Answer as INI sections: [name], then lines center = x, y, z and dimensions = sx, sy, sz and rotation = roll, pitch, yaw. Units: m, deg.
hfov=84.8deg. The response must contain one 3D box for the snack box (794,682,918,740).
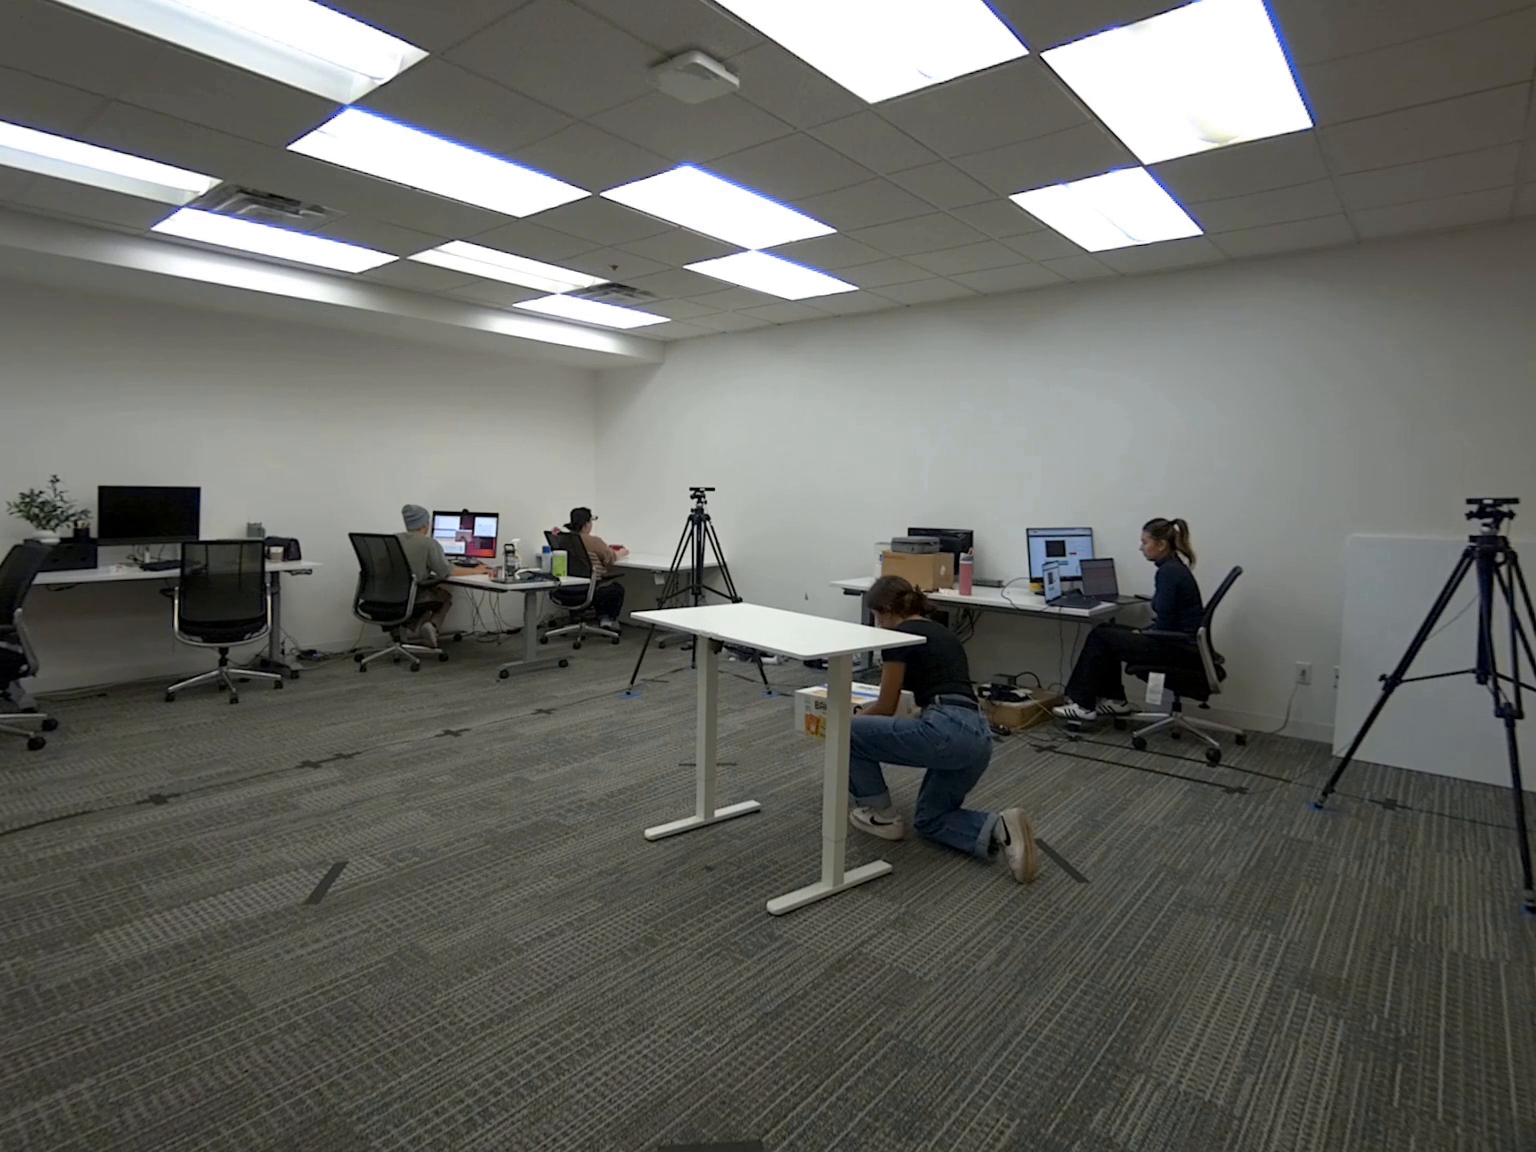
[snack box]
center = 0.378, 0.618, 3.817
dimensions = 0.330, 0.205, 0.418
rotation = -5, 4, -41
